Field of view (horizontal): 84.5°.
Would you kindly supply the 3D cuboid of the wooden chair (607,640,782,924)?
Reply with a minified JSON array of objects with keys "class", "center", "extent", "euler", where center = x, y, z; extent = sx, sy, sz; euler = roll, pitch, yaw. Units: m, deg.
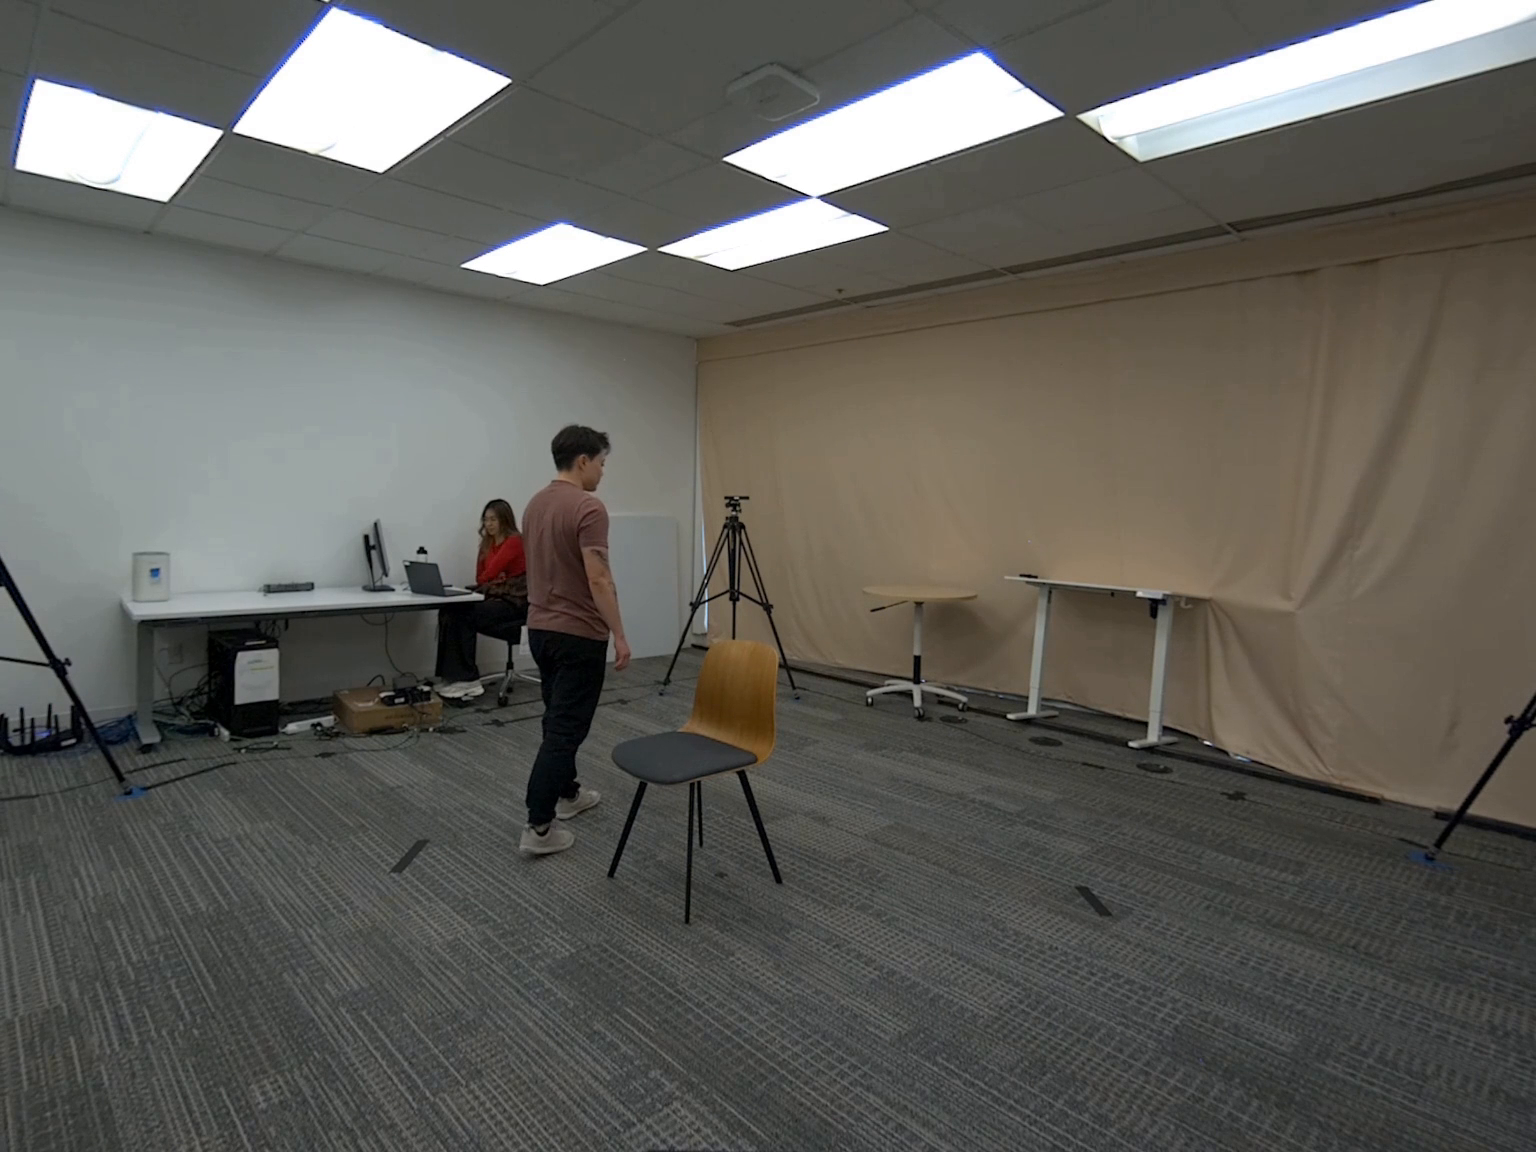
[{"class":"wooden chair","center":[-0.267,0.684,3.014],"extent":[0.510,0.877,0.490],"euler":[4,1,-45]}]
